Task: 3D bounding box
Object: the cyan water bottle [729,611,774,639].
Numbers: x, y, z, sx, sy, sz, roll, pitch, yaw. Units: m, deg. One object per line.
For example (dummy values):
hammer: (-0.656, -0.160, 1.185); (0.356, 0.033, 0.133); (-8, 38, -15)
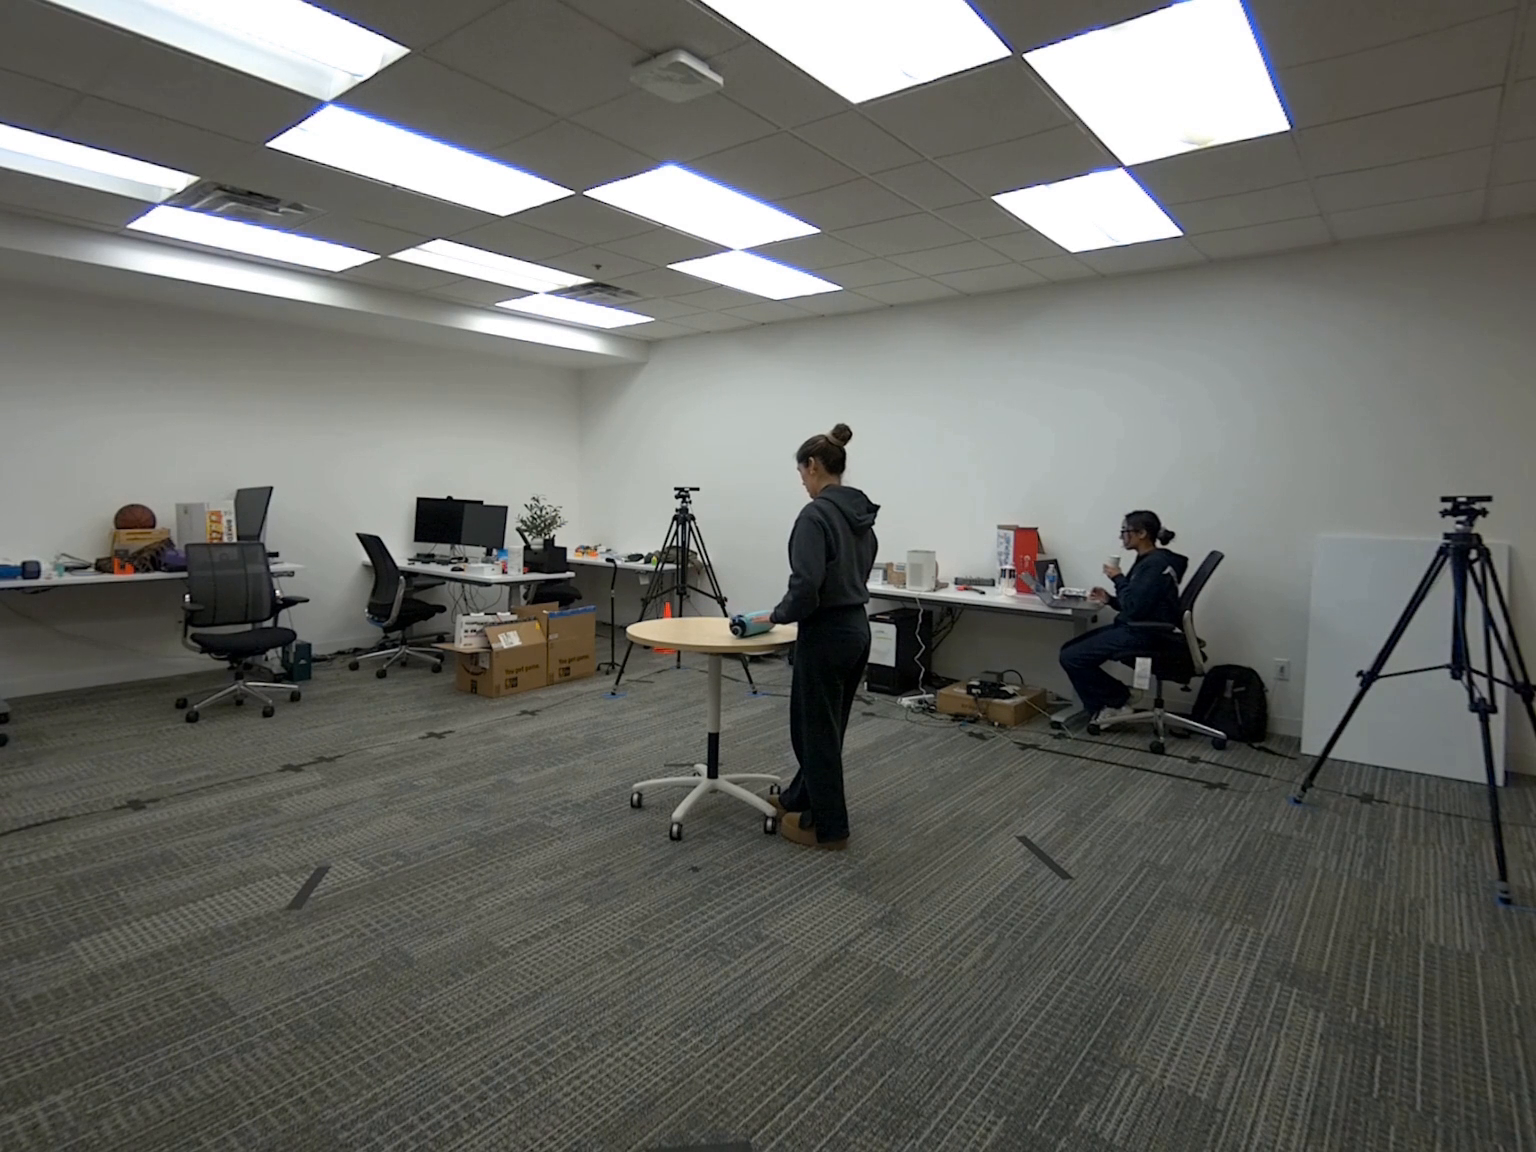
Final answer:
cyan water bottle: (-0.073, 0.195, 3.568); (0.095, 0.092, 0.276); (3, 4, 30)
